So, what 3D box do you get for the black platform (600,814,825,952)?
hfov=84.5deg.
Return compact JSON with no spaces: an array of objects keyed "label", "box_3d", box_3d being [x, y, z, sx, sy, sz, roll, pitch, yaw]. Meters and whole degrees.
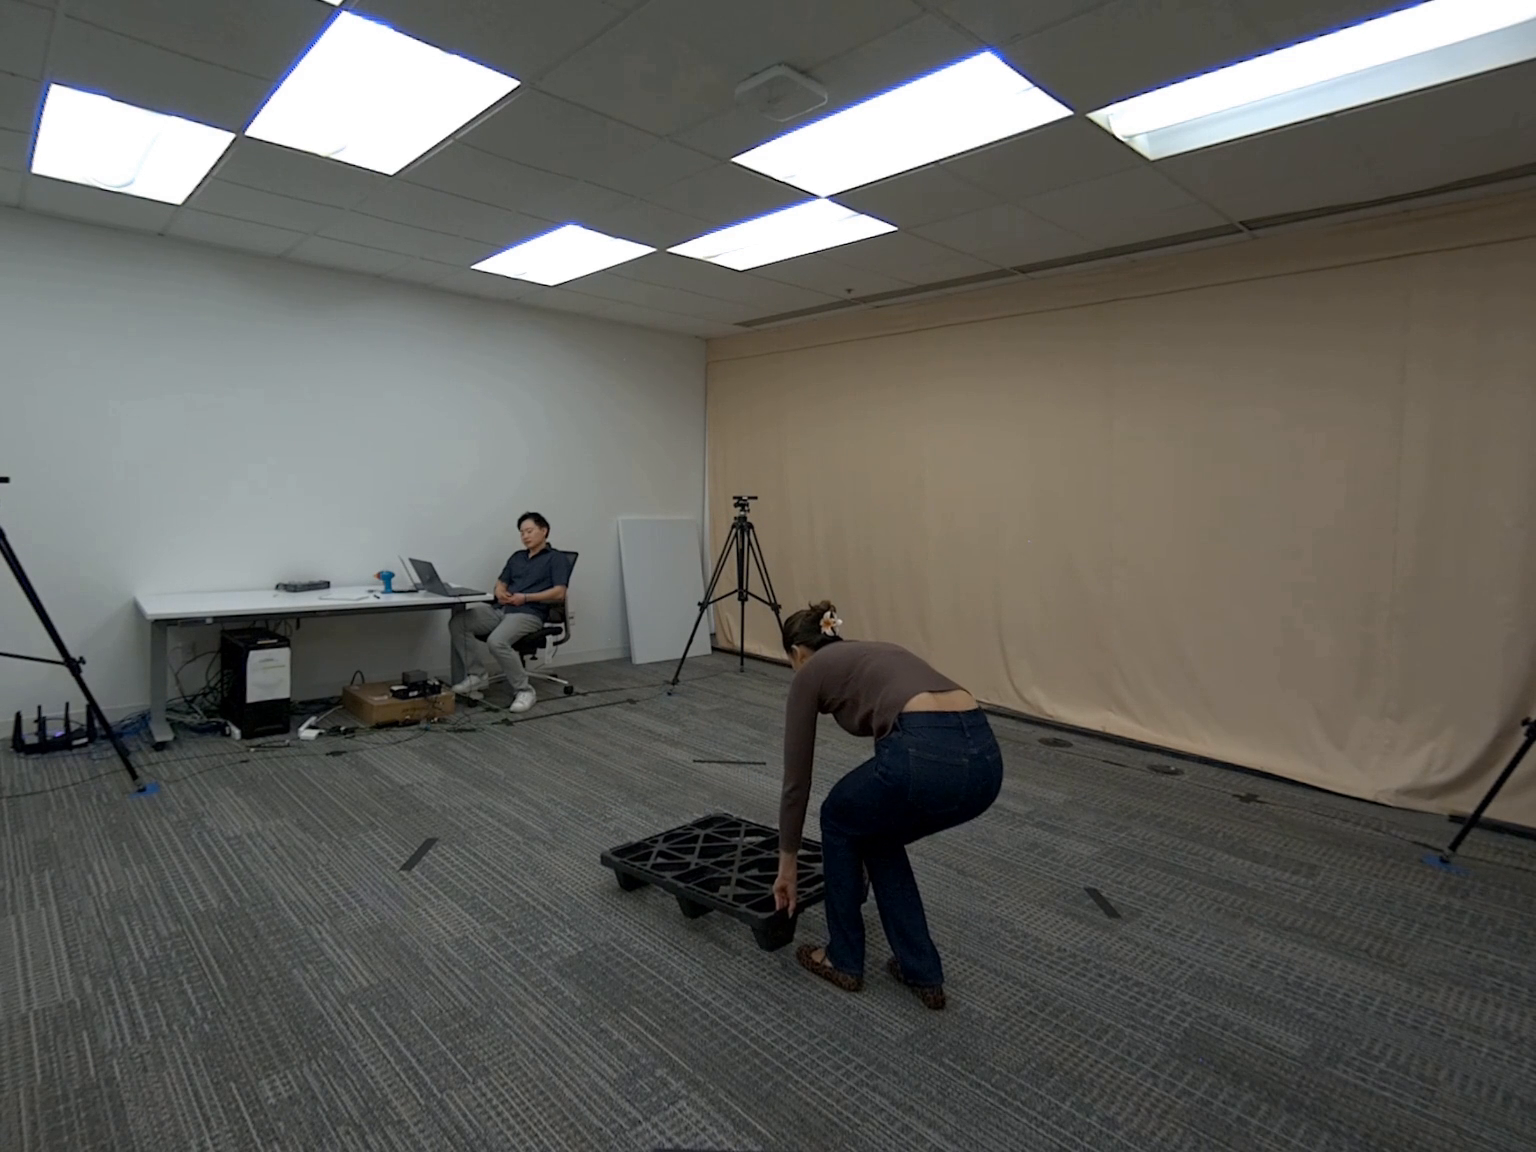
[{"label":"black platform","box_3d":[-0.107,1.032,2.880,0.824,0.143,0.592,0,3,44]}]
